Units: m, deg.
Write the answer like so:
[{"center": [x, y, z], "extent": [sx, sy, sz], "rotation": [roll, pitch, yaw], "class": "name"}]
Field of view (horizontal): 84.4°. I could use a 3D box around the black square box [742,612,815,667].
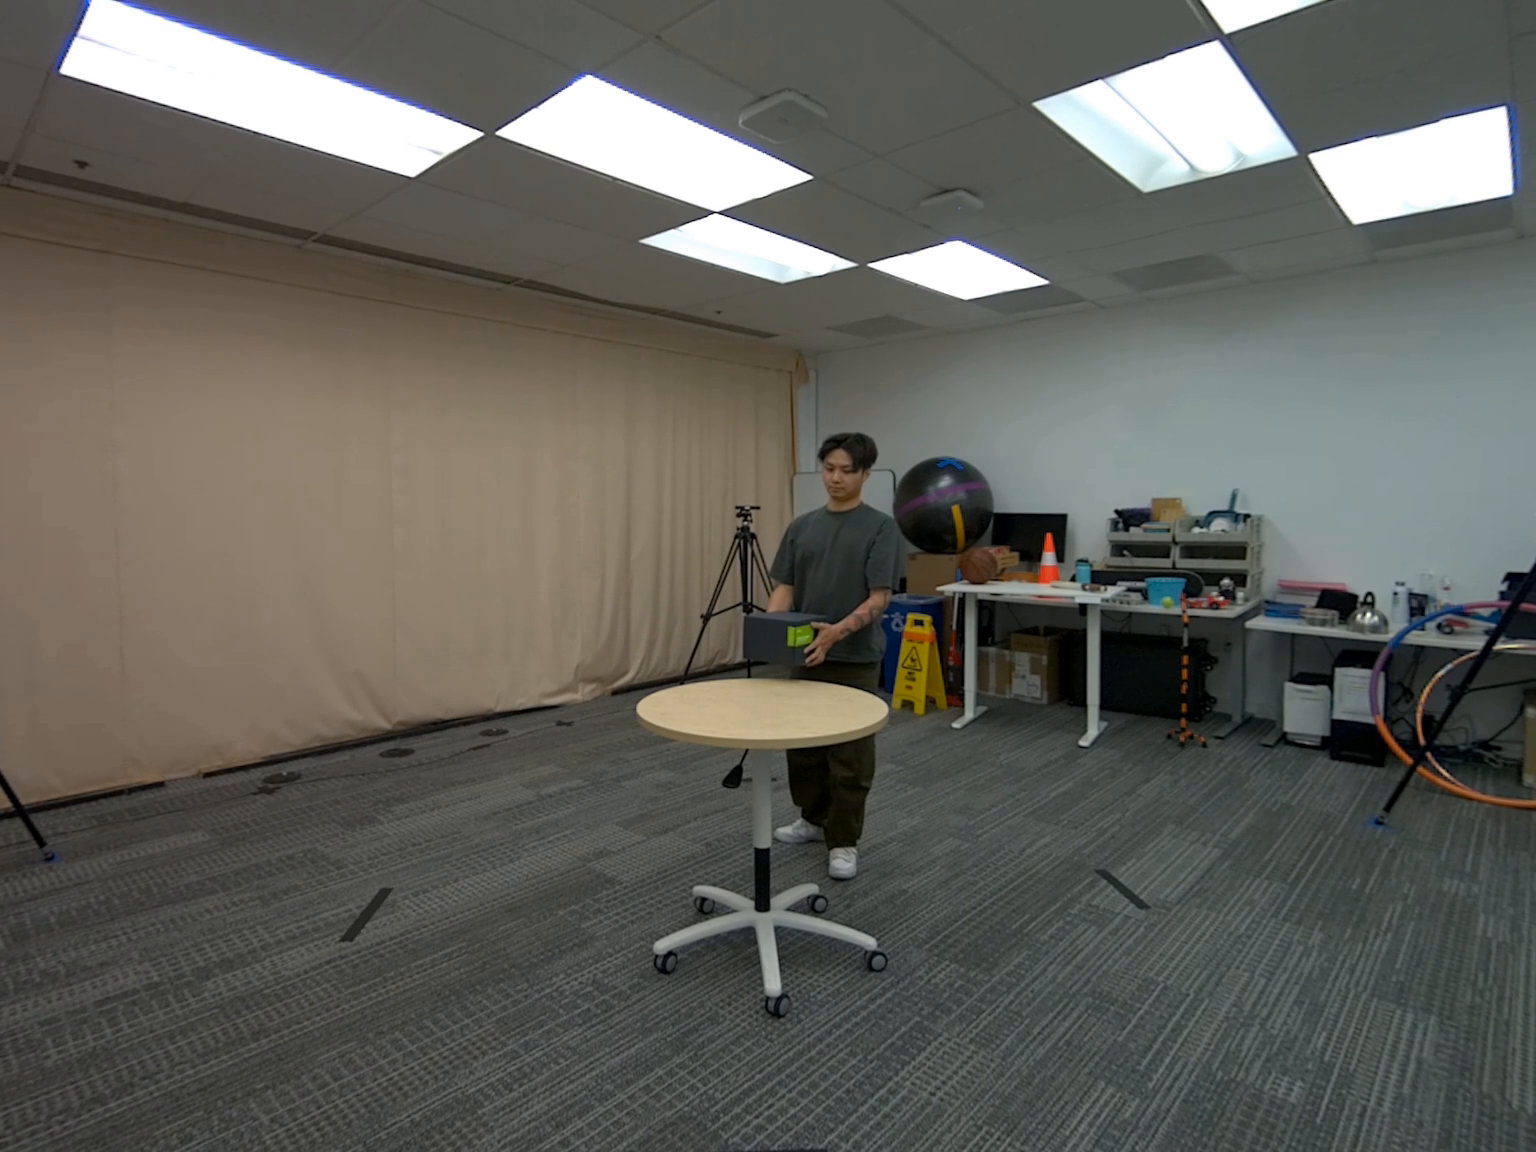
[{"center": [0.061, 0.219, 3.008], "extent": [0.224, 0.155, 0.221], "rotation": [5, 4, 33], "class": "black square box"}]
